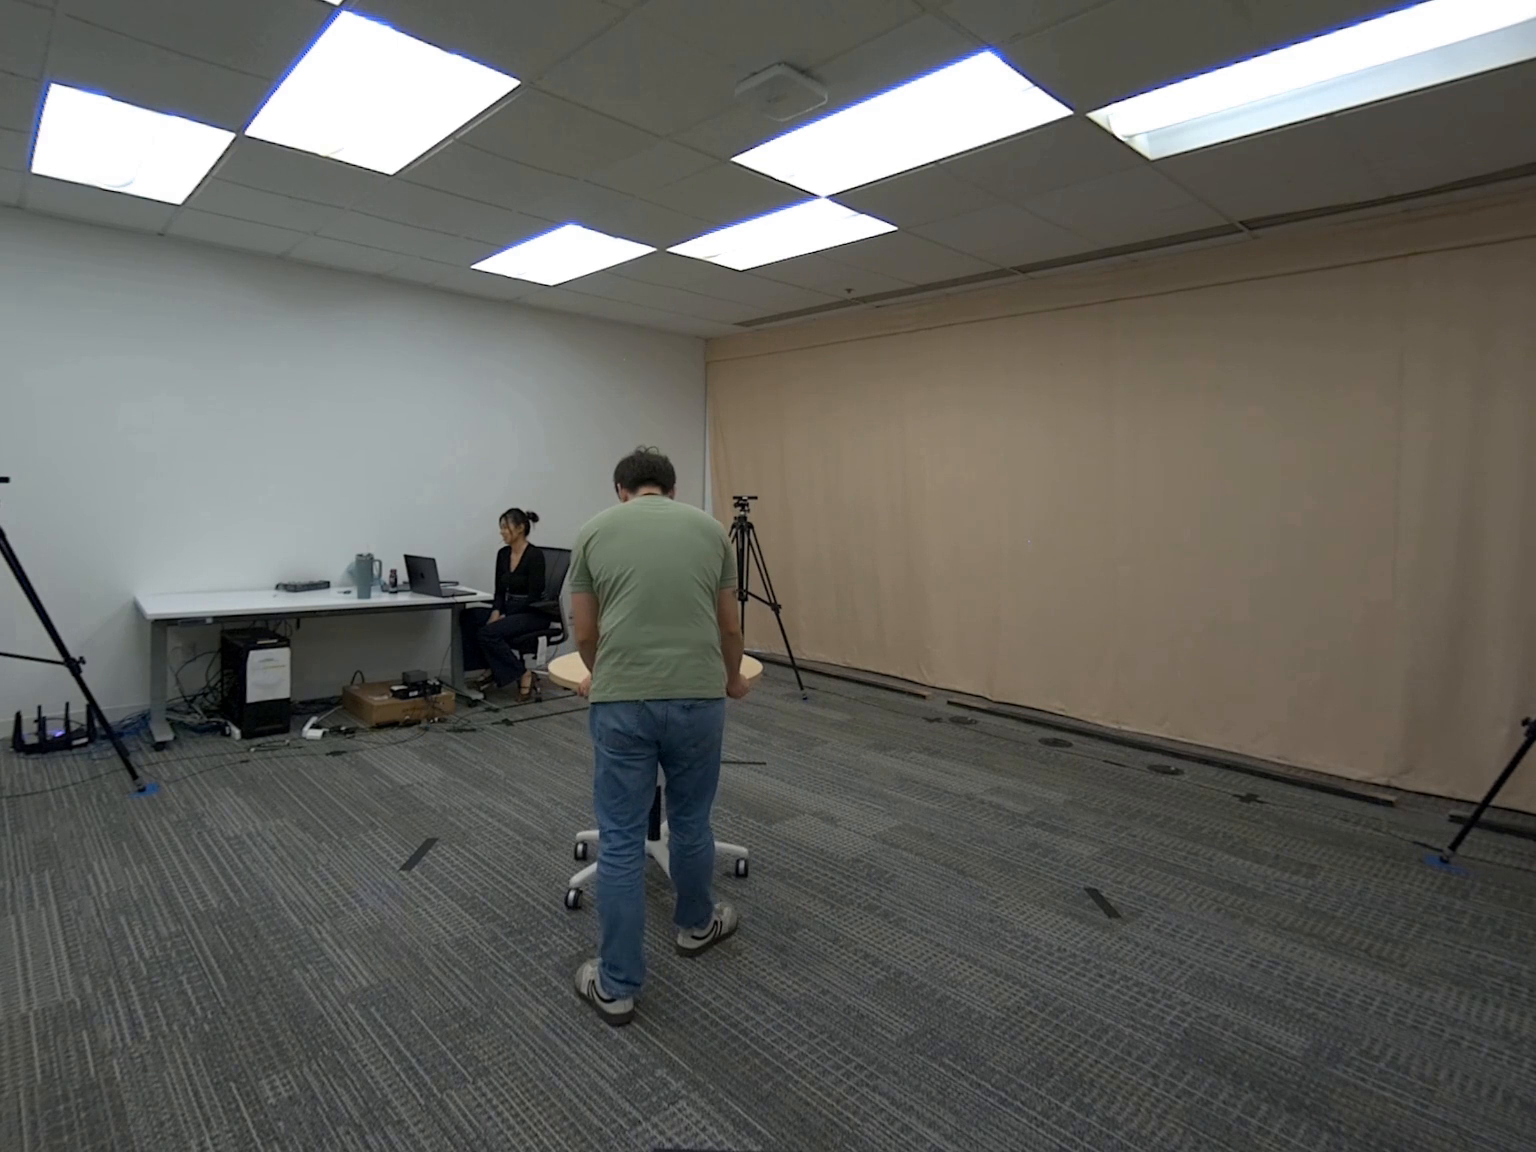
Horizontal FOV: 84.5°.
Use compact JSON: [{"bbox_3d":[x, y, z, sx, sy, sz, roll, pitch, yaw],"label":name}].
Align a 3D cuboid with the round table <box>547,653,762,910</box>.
[{"bbox_3d":[-0.414,0.718,3.056,0.763,0.792,0.767,1,4,-1],"label":"round table"}]
